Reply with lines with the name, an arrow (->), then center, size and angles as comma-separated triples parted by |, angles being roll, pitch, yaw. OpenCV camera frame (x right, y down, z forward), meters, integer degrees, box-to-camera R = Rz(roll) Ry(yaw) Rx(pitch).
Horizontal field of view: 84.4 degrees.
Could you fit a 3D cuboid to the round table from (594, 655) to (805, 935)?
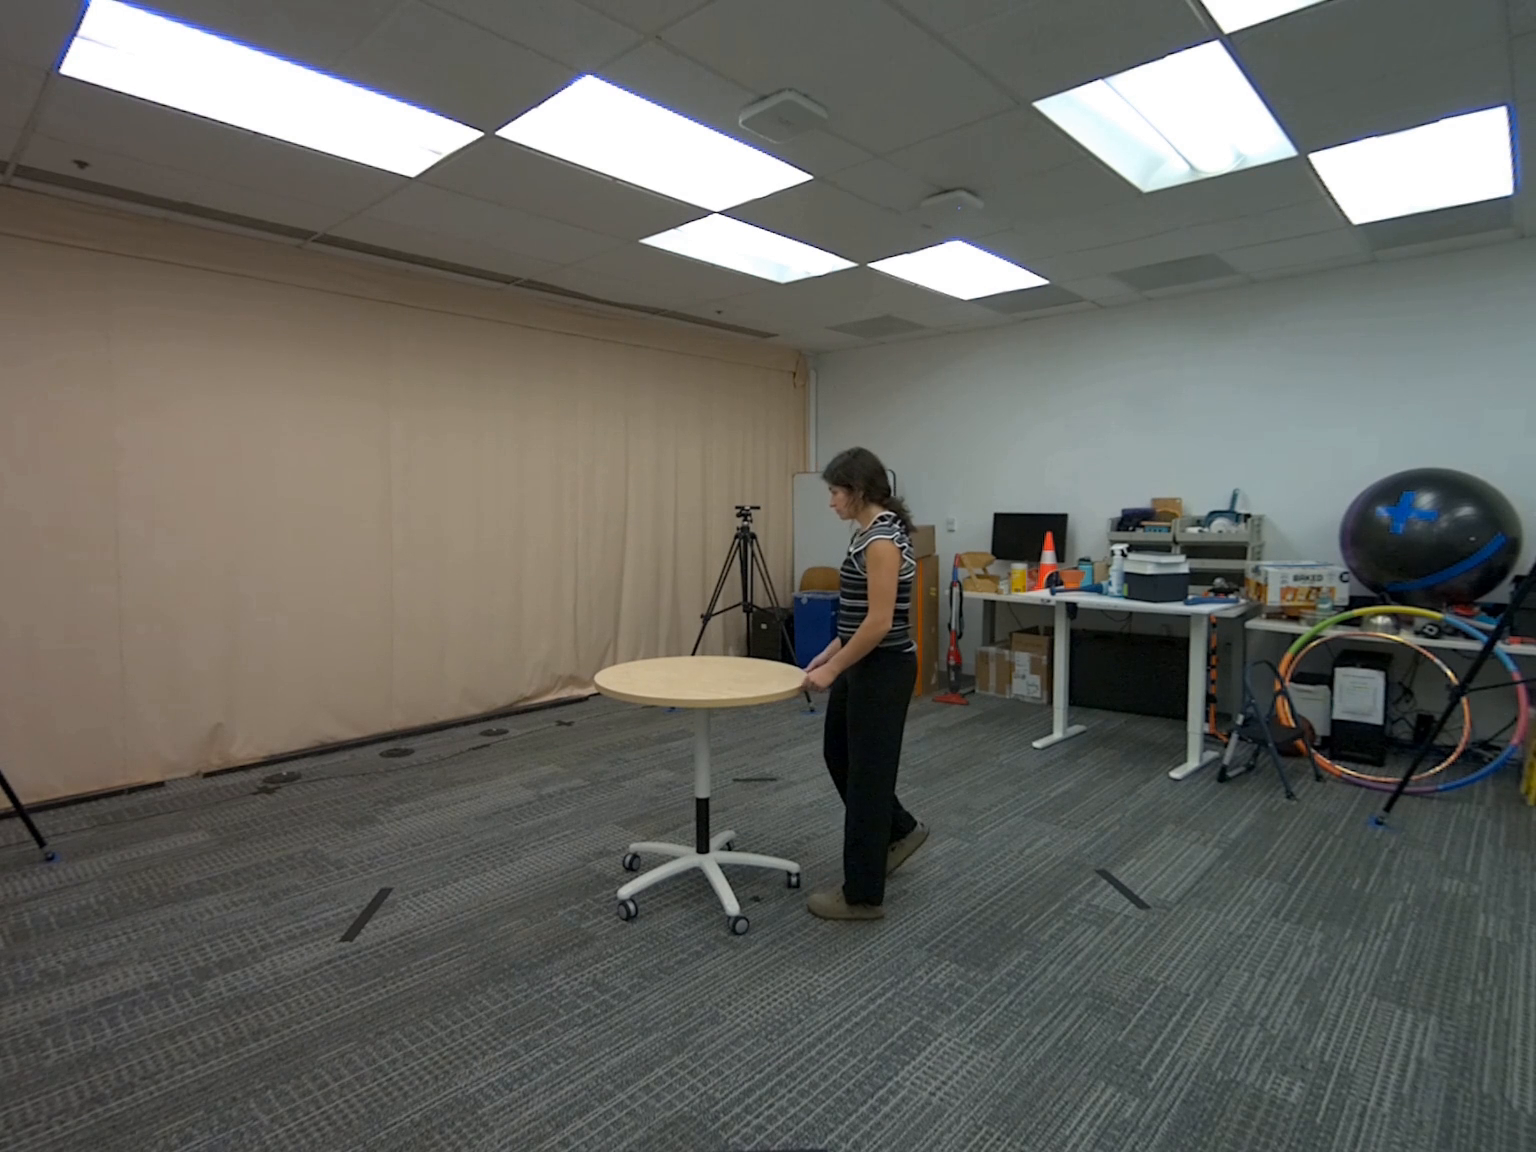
round table -> -0.234, 0.750, 3.026 | 0.784, 0.785, 0.787 | 0, 3, -2
